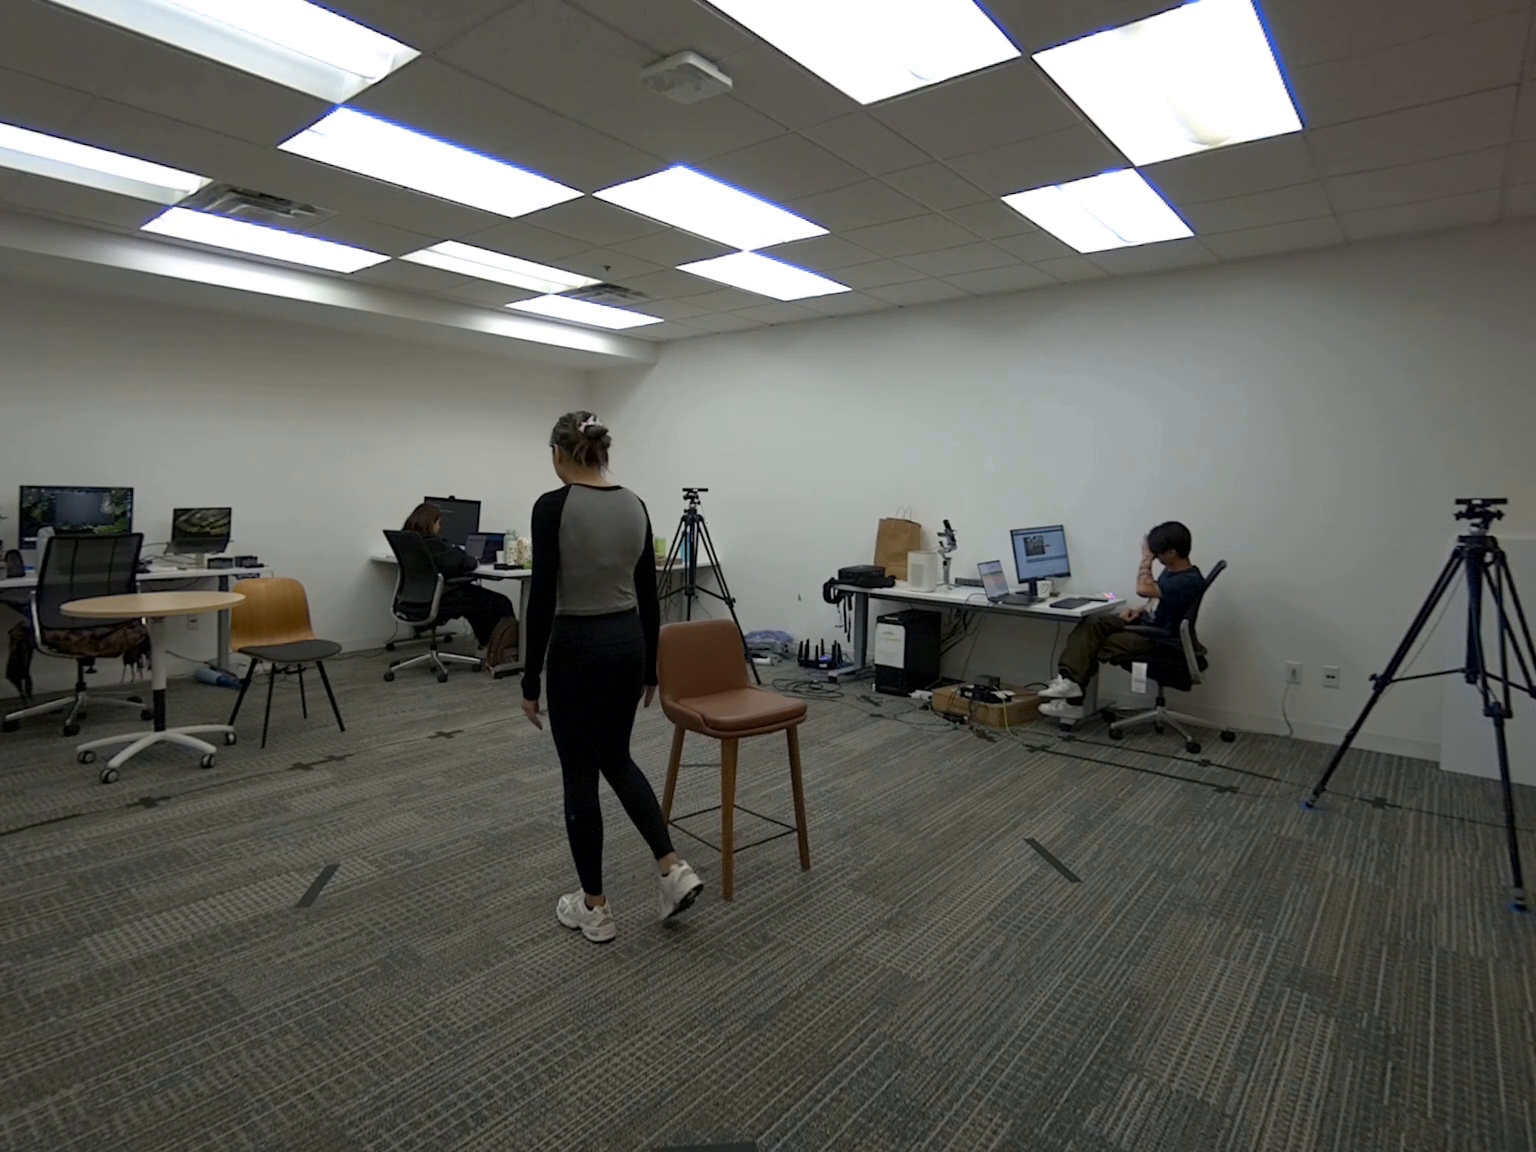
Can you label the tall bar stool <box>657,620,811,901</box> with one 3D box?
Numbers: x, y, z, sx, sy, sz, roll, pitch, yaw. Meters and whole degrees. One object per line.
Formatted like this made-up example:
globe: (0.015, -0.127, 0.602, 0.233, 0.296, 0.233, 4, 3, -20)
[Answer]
tall bar stool: (-0.146, 0.630, 3.149, 0.442, 0.889, 0.483, -2, 2, -42)
